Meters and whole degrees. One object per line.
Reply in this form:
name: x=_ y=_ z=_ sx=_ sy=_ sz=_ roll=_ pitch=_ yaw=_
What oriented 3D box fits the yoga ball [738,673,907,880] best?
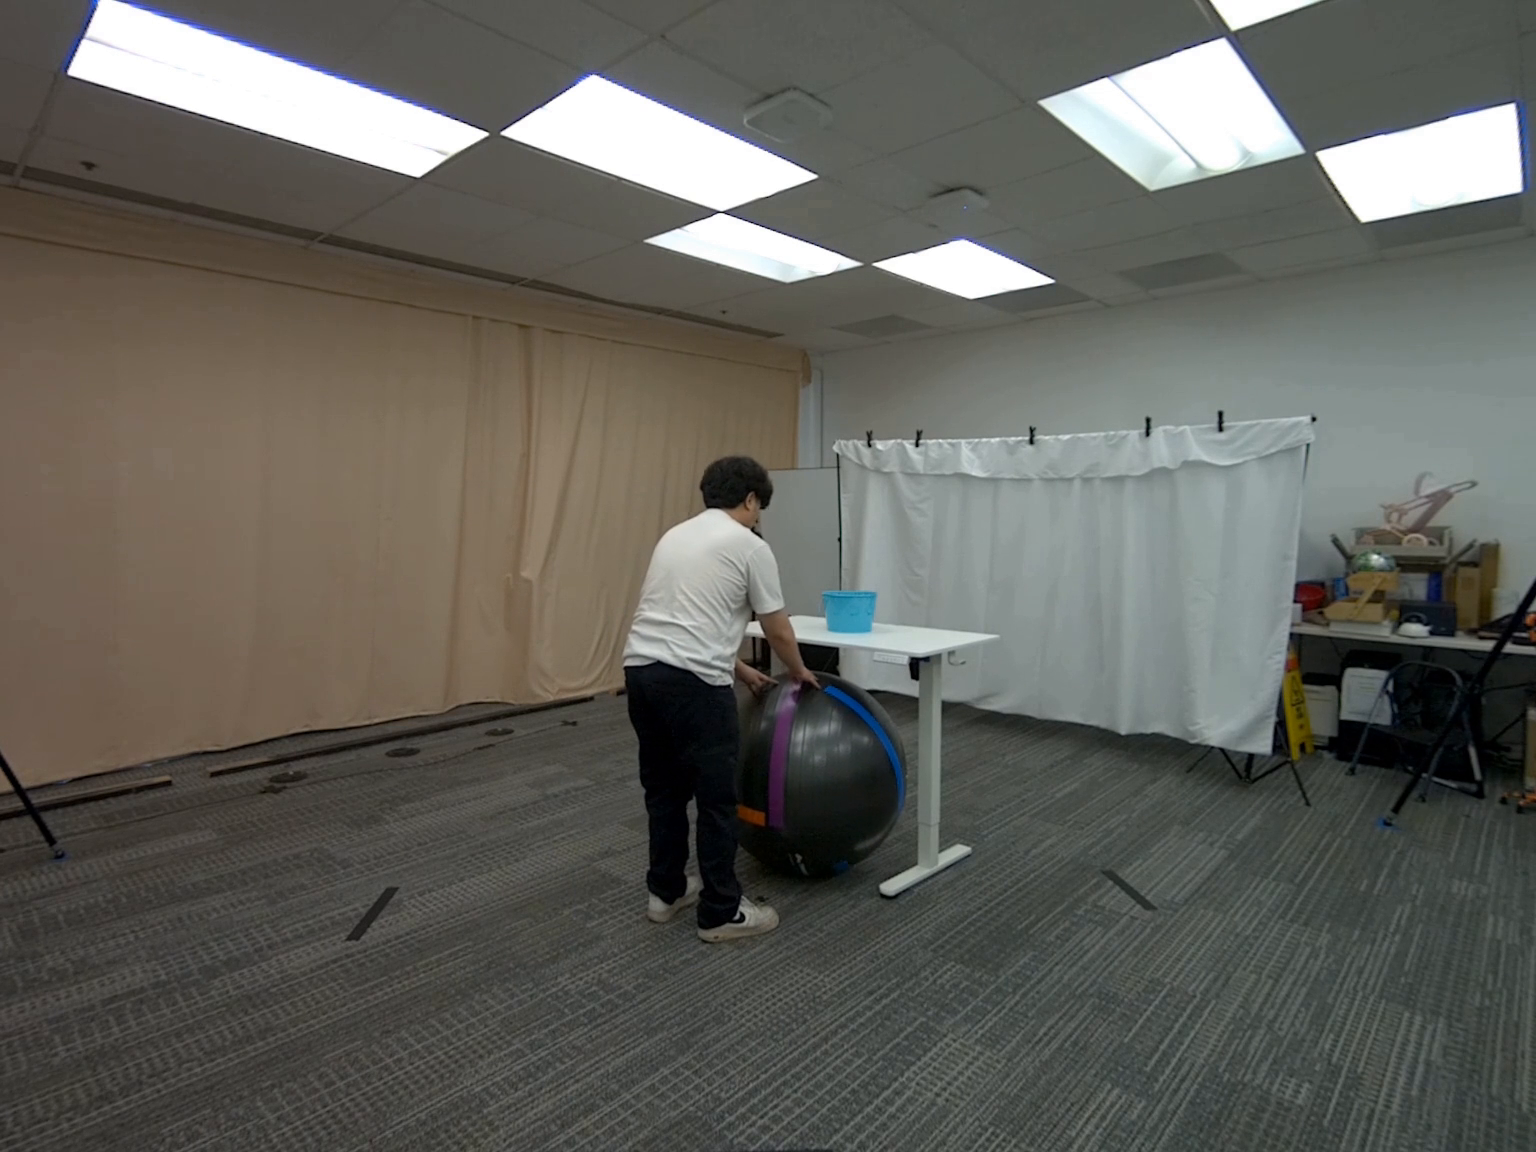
yoga ball: x=0.151 y=0.756 z=3.249 sx=0.757 sy=0.756 sz=0.760 roll=0 pitch=4 yaw=-2
